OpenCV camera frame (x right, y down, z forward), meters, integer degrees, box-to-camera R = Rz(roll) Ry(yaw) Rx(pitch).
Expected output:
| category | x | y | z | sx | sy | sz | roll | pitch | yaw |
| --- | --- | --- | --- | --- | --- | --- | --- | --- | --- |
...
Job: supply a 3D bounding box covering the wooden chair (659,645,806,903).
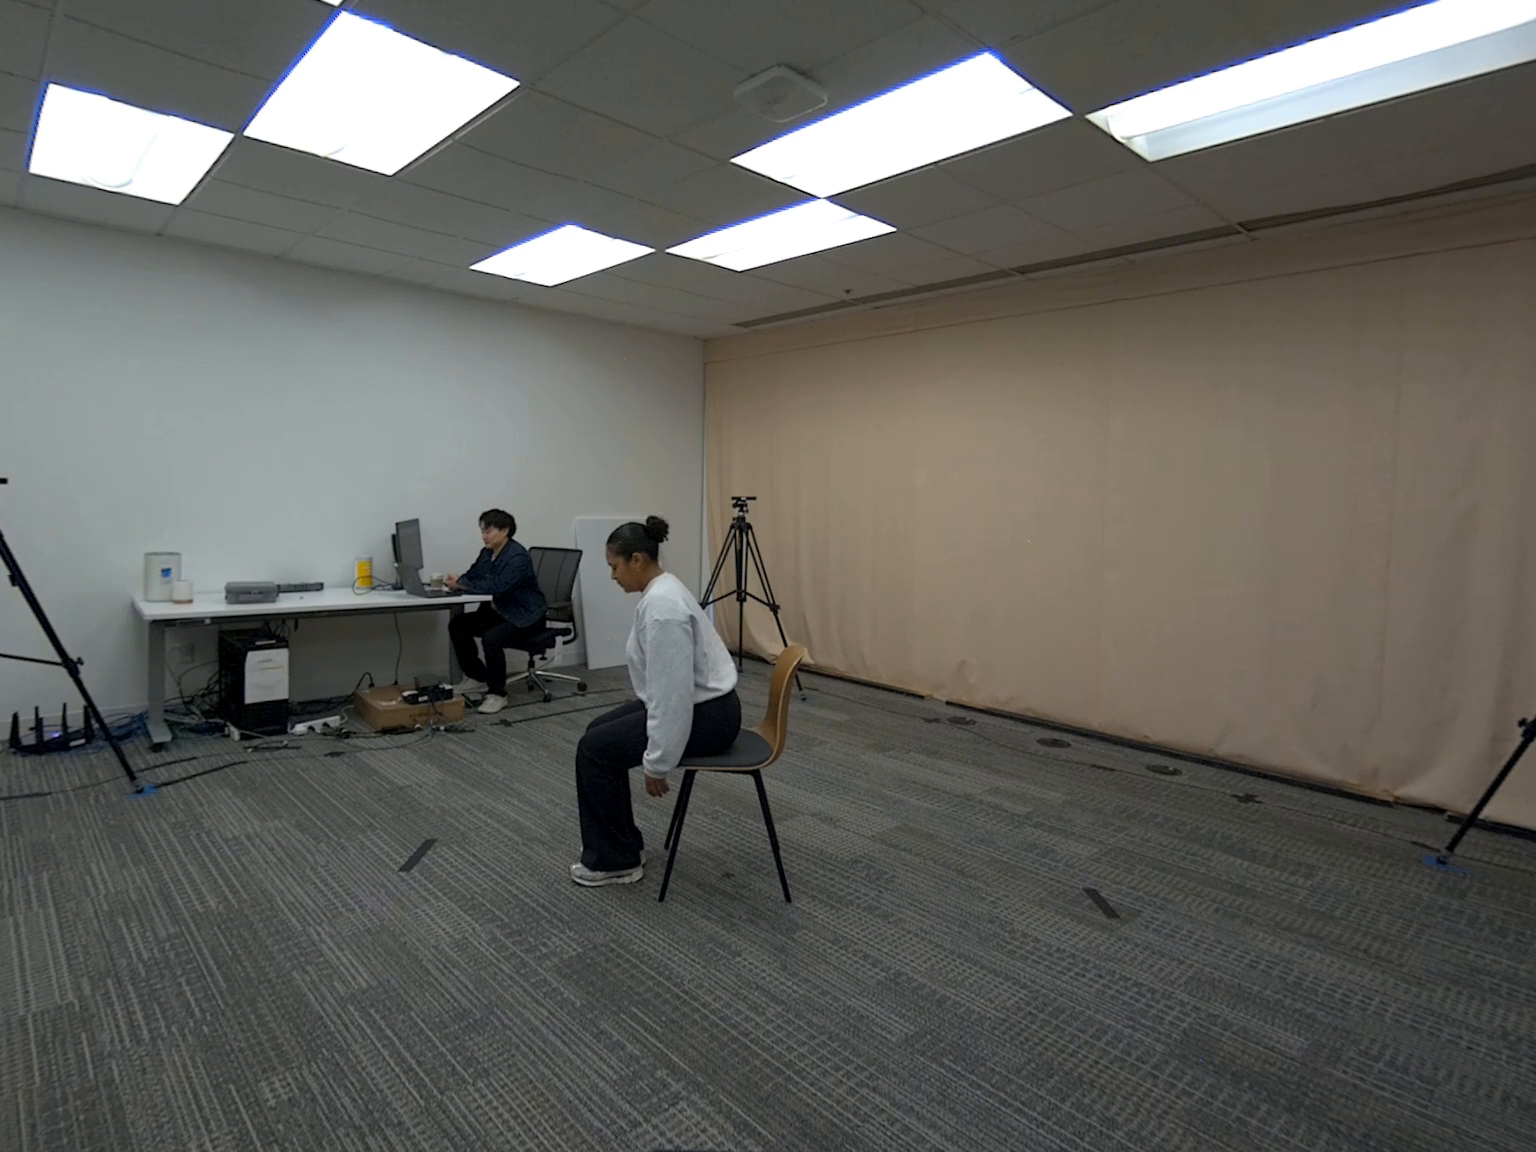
| category | x | y | z | sx | sy | sz | roll | pitch | yaw |
| --- | --- | --- | --- | --- | --- | --- | --- | --- | --- |
| wooden chair | -0.167 | 0.680 | 3.088 | 0.522 | 0.875 | 0.480 | 5 | 4 | -4 |
